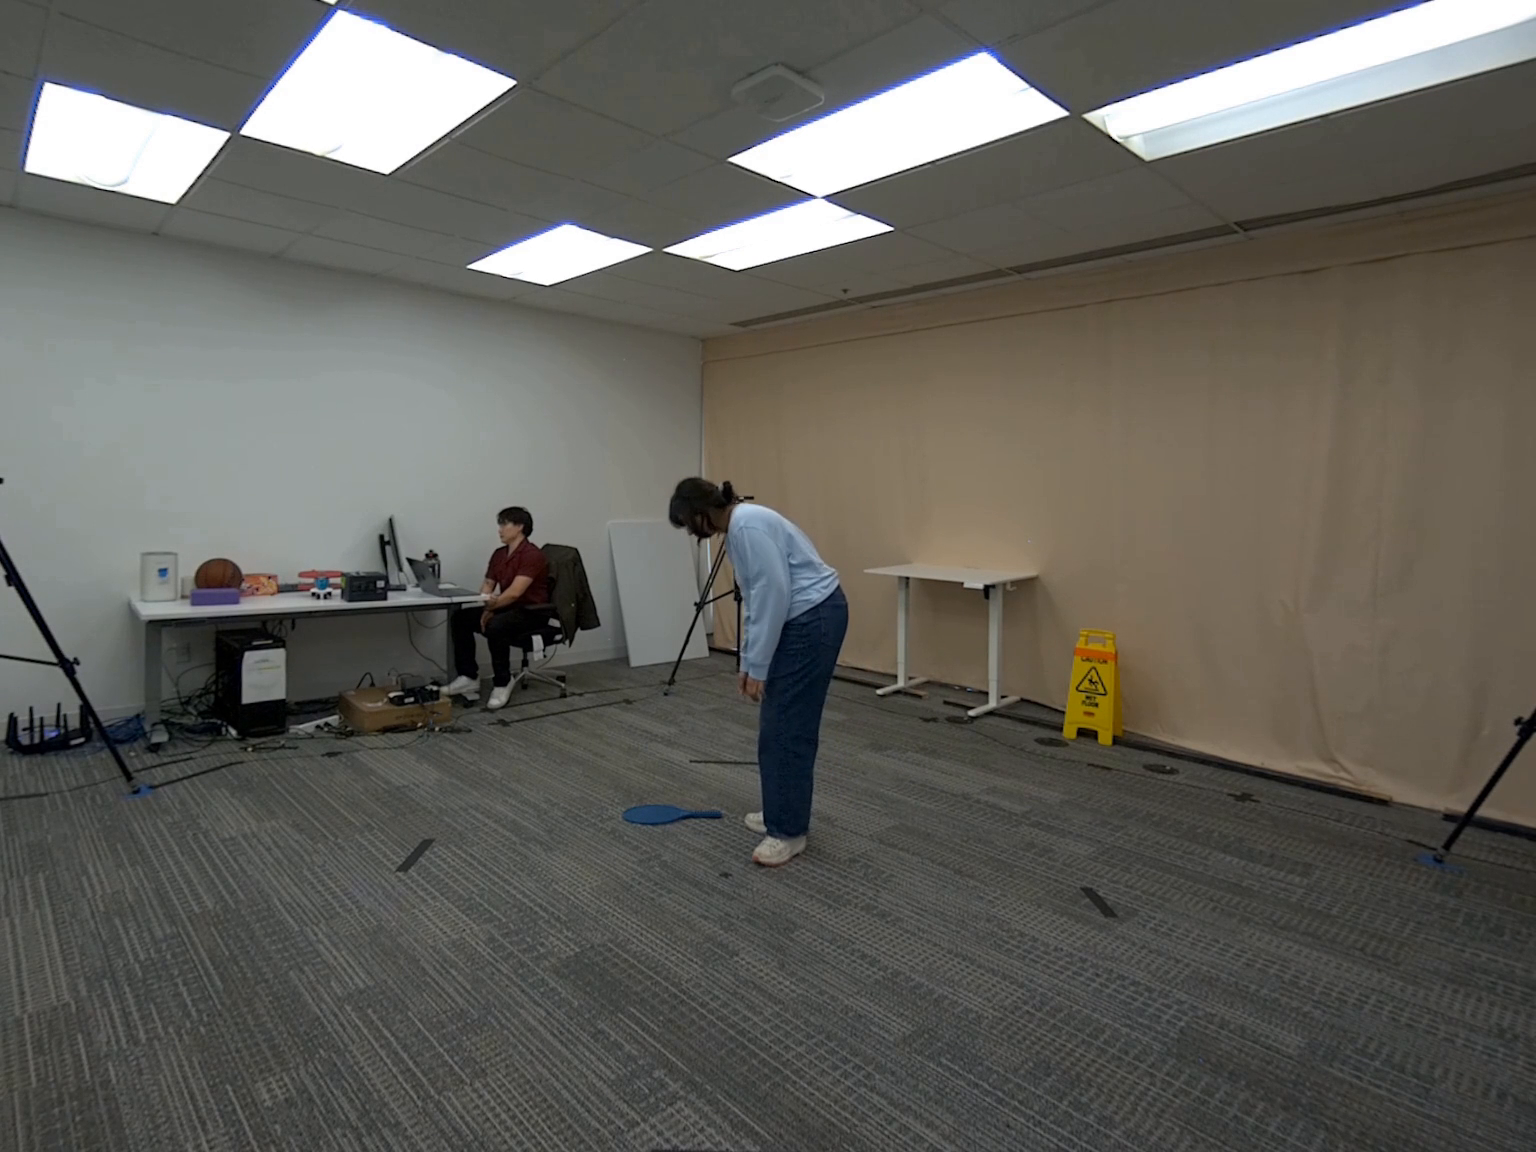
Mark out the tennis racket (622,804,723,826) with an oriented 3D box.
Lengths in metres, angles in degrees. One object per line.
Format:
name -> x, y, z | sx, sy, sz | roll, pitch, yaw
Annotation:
tennis racket -> -0.421, 1.029, 3.665 | 0.432, 0.031, 0.215 | 0, 6, -3
